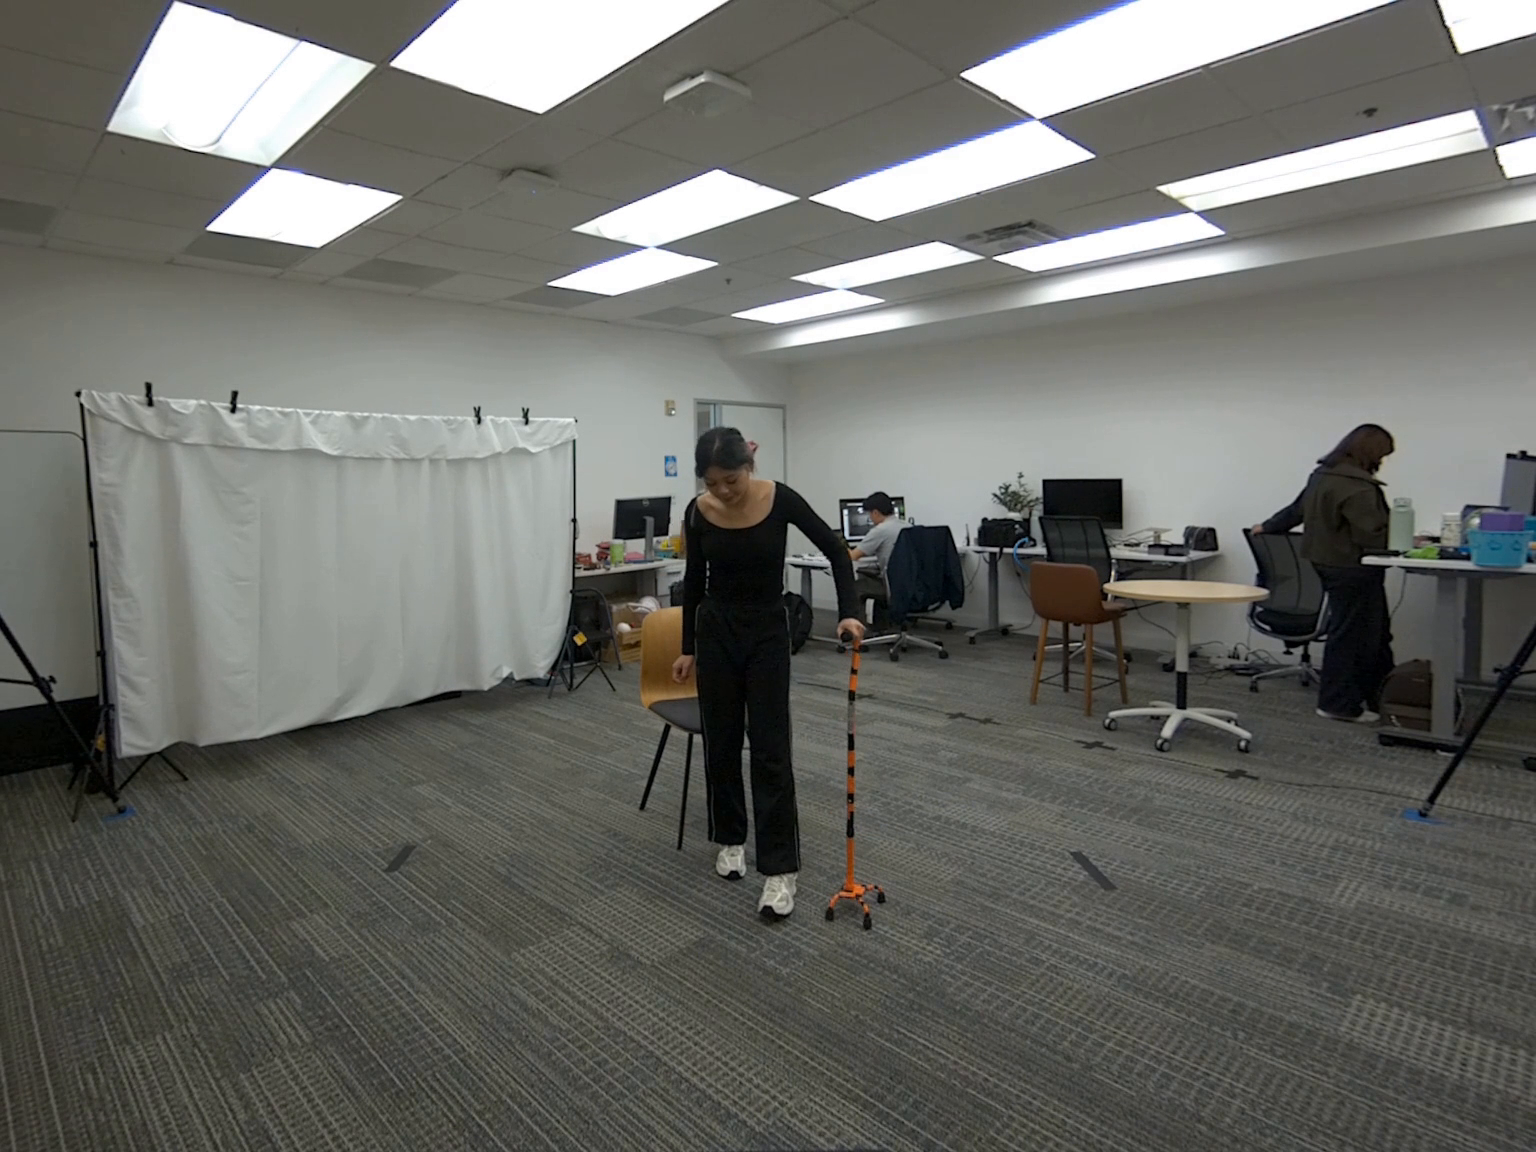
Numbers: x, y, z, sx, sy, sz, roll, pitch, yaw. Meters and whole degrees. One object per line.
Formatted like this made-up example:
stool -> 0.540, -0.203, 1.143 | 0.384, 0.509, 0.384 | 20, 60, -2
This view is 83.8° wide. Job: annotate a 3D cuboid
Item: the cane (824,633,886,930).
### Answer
cane -> 0.283, 0.619, 2.736 | 0.155, 0.906, 0.202 | 1, 2, 21
